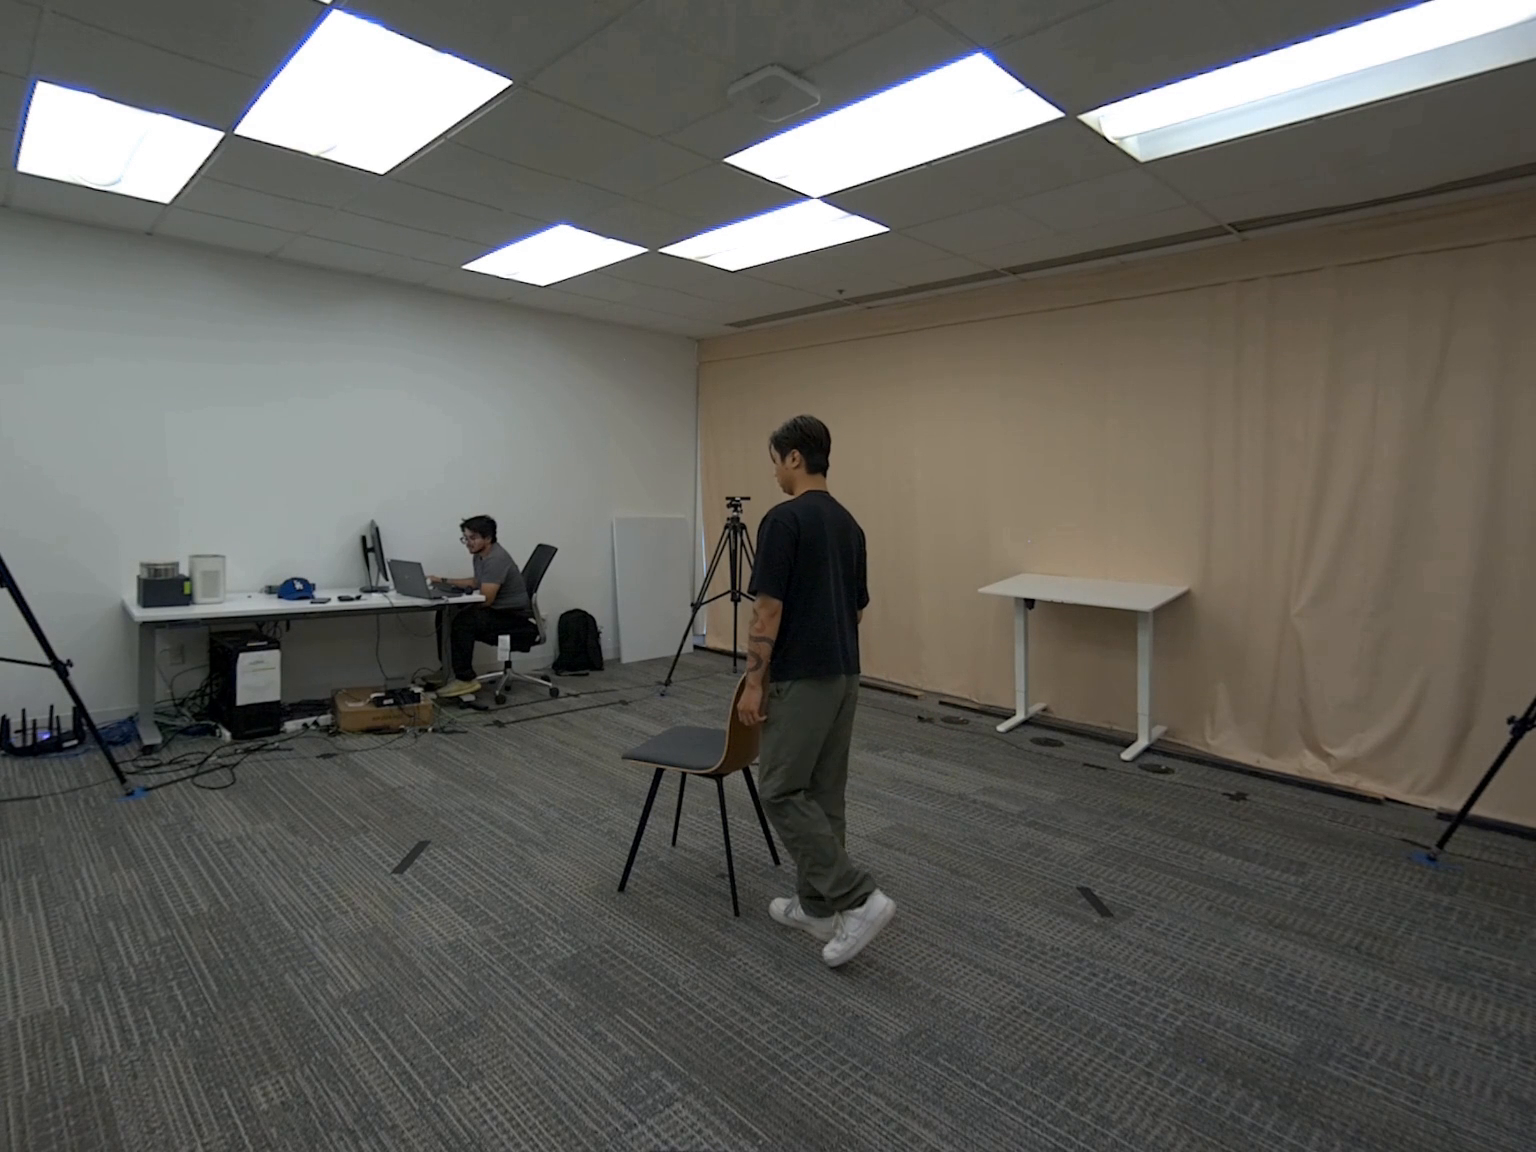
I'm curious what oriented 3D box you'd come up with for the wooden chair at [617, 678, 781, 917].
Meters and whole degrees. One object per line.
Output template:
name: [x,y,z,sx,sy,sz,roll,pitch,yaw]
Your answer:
wooden chair: [-0.243,0.680,3.053,0.532,0.874,0.471,7,5,20]
